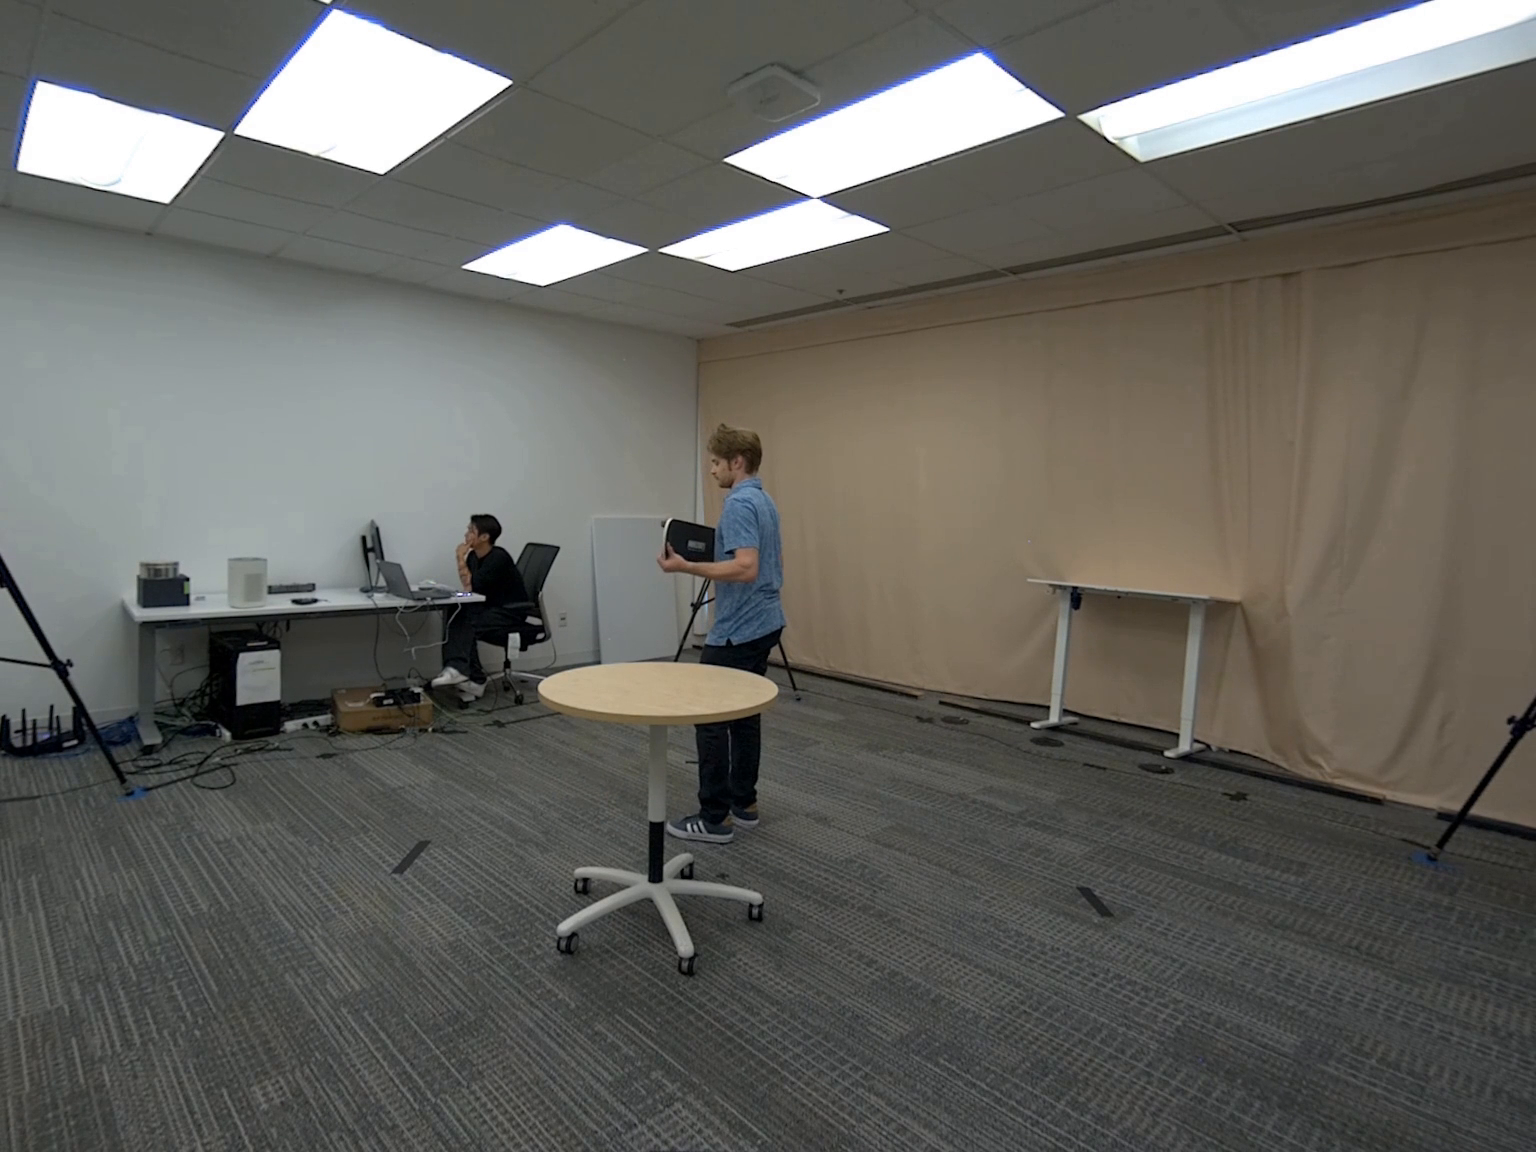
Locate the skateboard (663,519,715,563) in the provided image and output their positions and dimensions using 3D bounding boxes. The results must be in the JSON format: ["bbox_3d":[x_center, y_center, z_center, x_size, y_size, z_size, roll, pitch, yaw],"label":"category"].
[{"bbox_3d":[-0.344,-0.127,3.642,0.112,0.193,0.773,4,0,17],"label":"skateboard"}]
